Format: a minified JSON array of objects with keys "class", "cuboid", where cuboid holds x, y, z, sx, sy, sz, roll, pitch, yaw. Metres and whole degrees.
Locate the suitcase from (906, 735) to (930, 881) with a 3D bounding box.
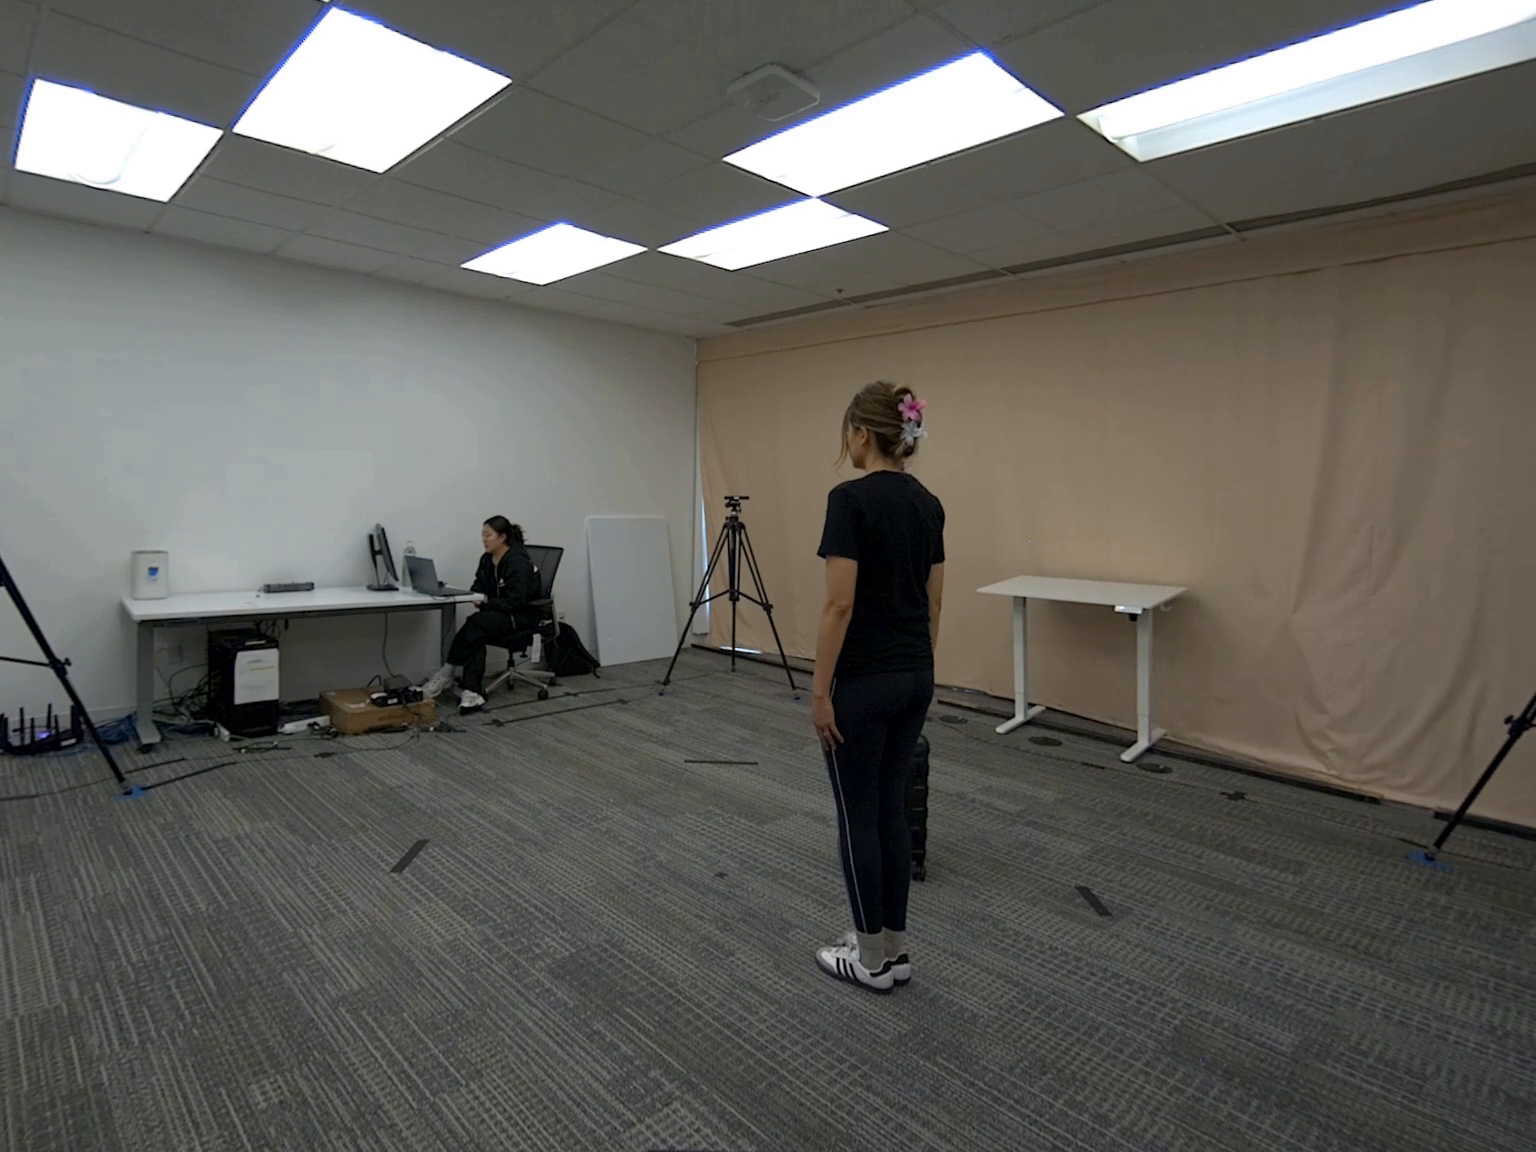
[{"class":"suitcase","cuboid":[0.458,0.633,3.242,0.256,0.977,0.386,3,2,-5]}]
